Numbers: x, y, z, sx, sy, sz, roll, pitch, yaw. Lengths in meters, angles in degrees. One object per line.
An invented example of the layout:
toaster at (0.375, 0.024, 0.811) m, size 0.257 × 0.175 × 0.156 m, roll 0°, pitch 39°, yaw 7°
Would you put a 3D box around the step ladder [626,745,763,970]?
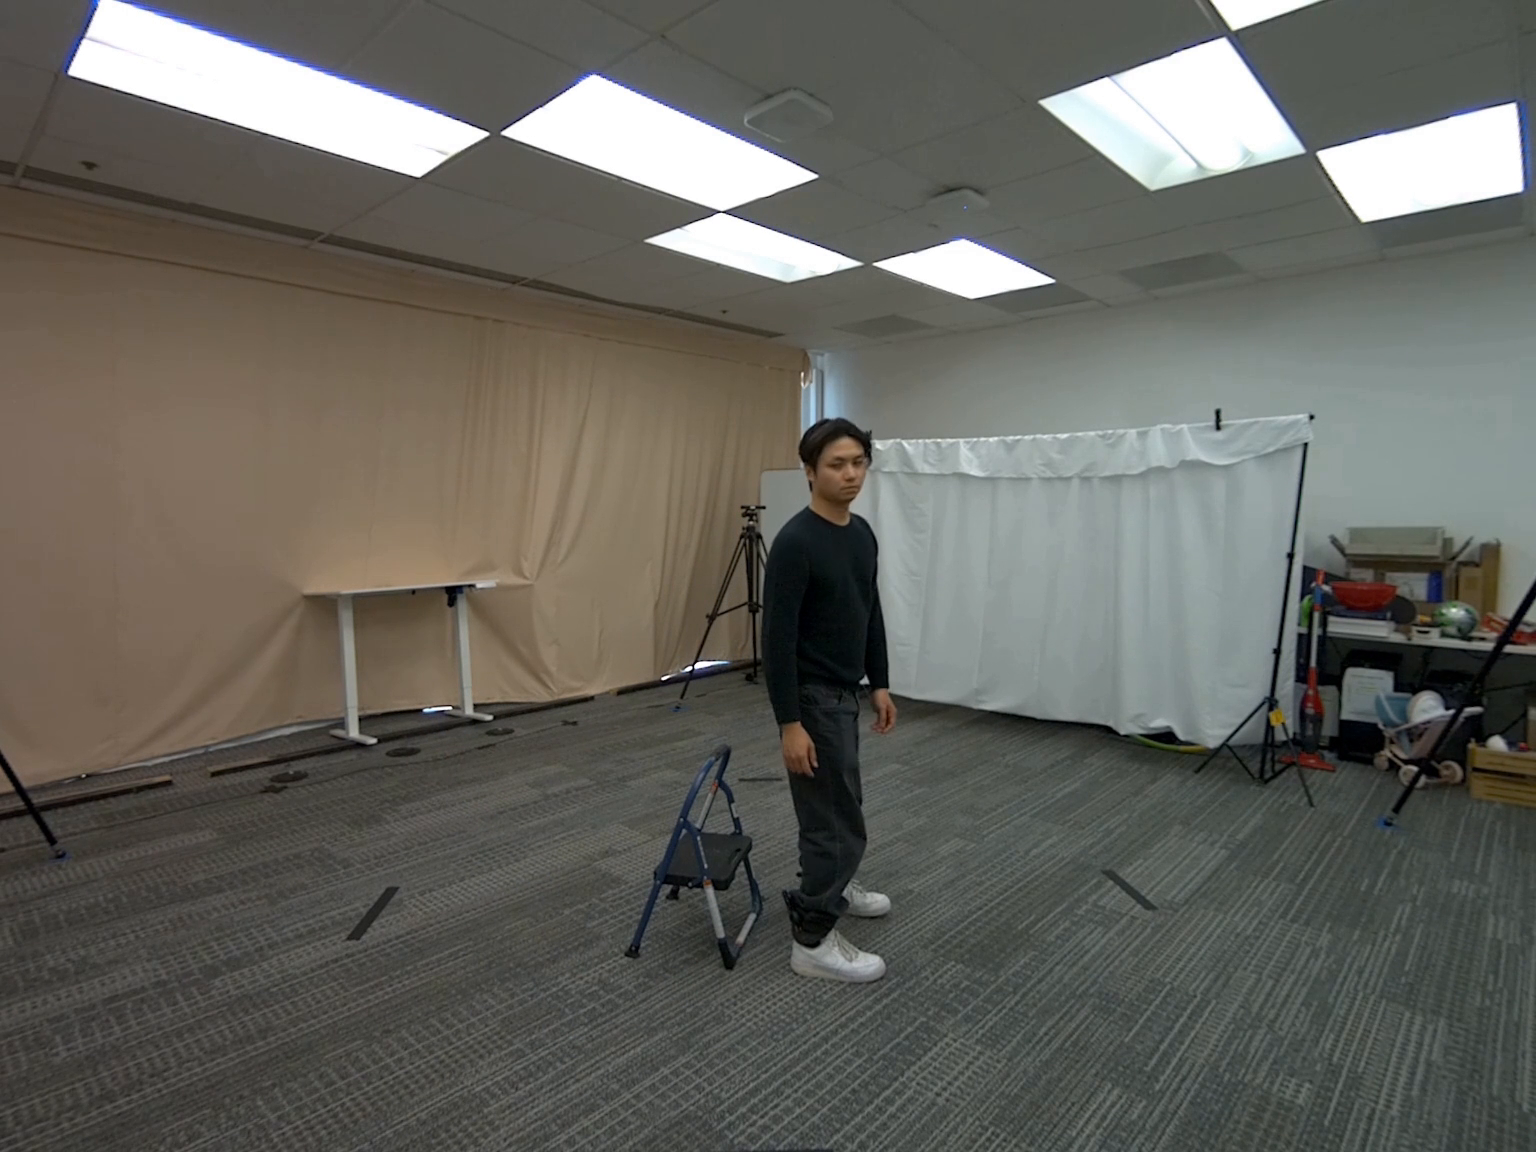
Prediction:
step ladder at (-0.234, 0.864, 2.748) m, size 0.355 × 0.605 × 0.425 m, roll 0°, pitch 3°, yaw 14°
